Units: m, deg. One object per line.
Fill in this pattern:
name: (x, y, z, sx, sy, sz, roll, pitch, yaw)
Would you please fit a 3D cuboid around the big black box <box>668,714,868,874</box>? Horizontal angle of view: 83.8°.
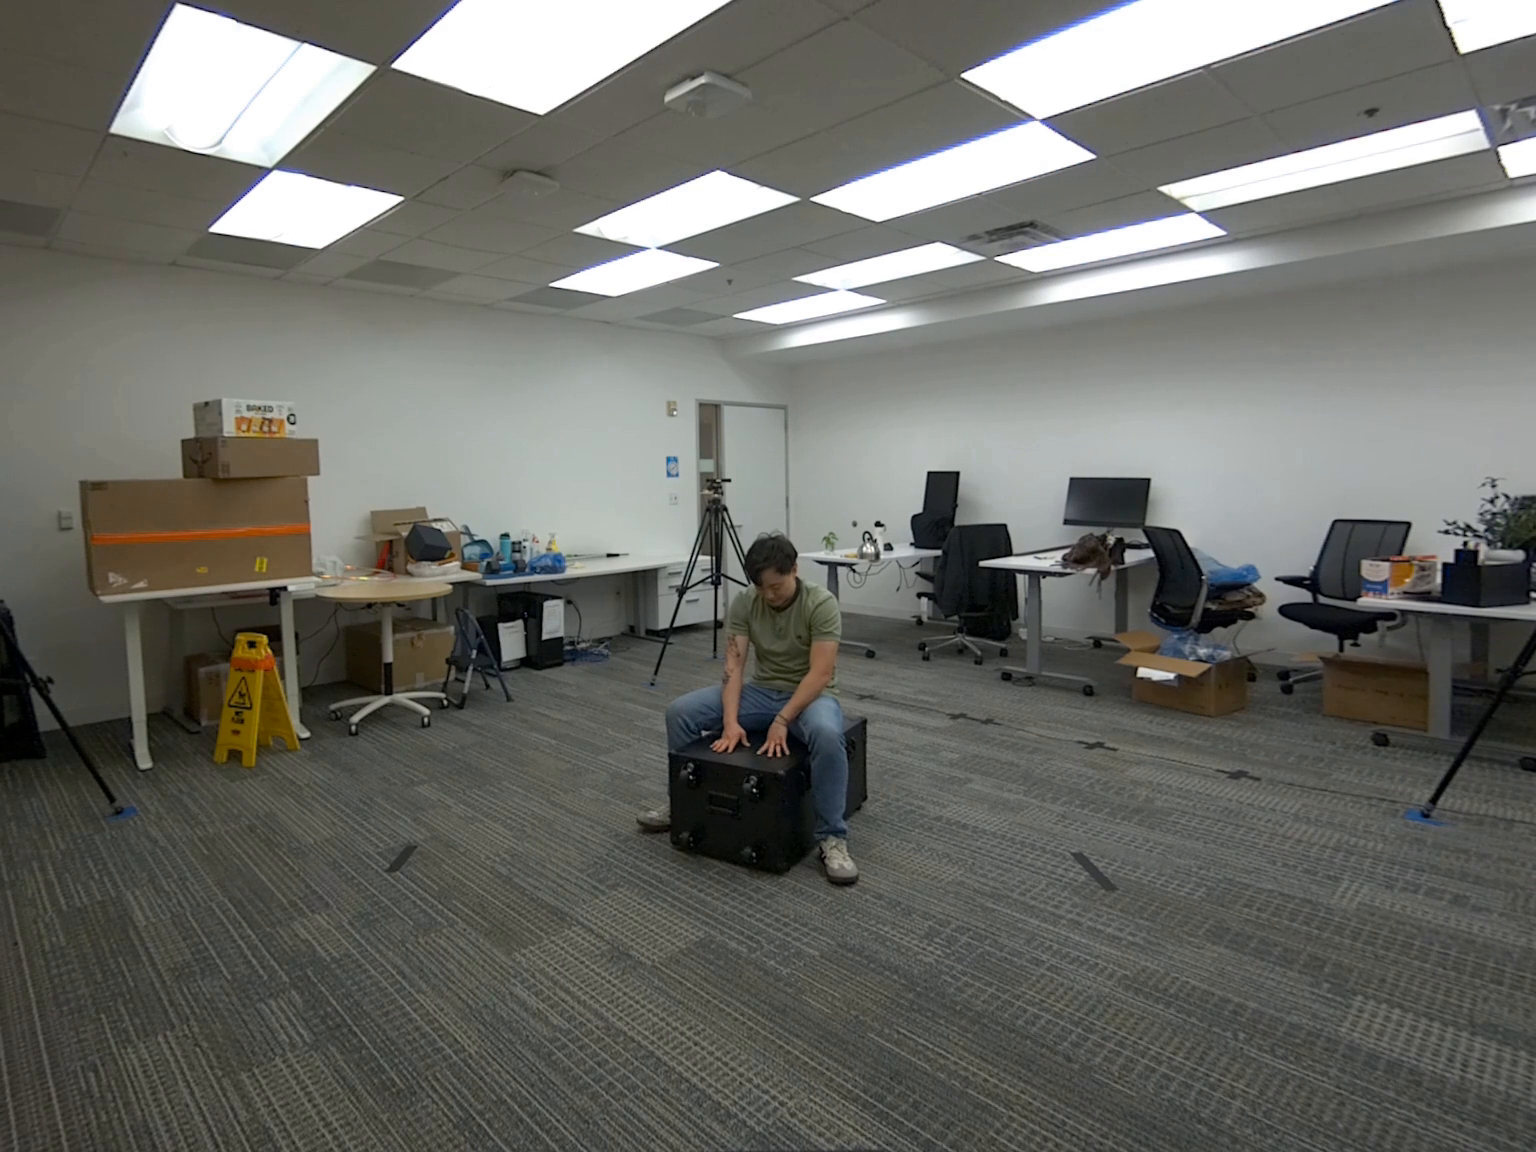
big black box: (0.012, 0.822, 3.399, 0.535, 0.395, 0.842, 3, 6, 29)
